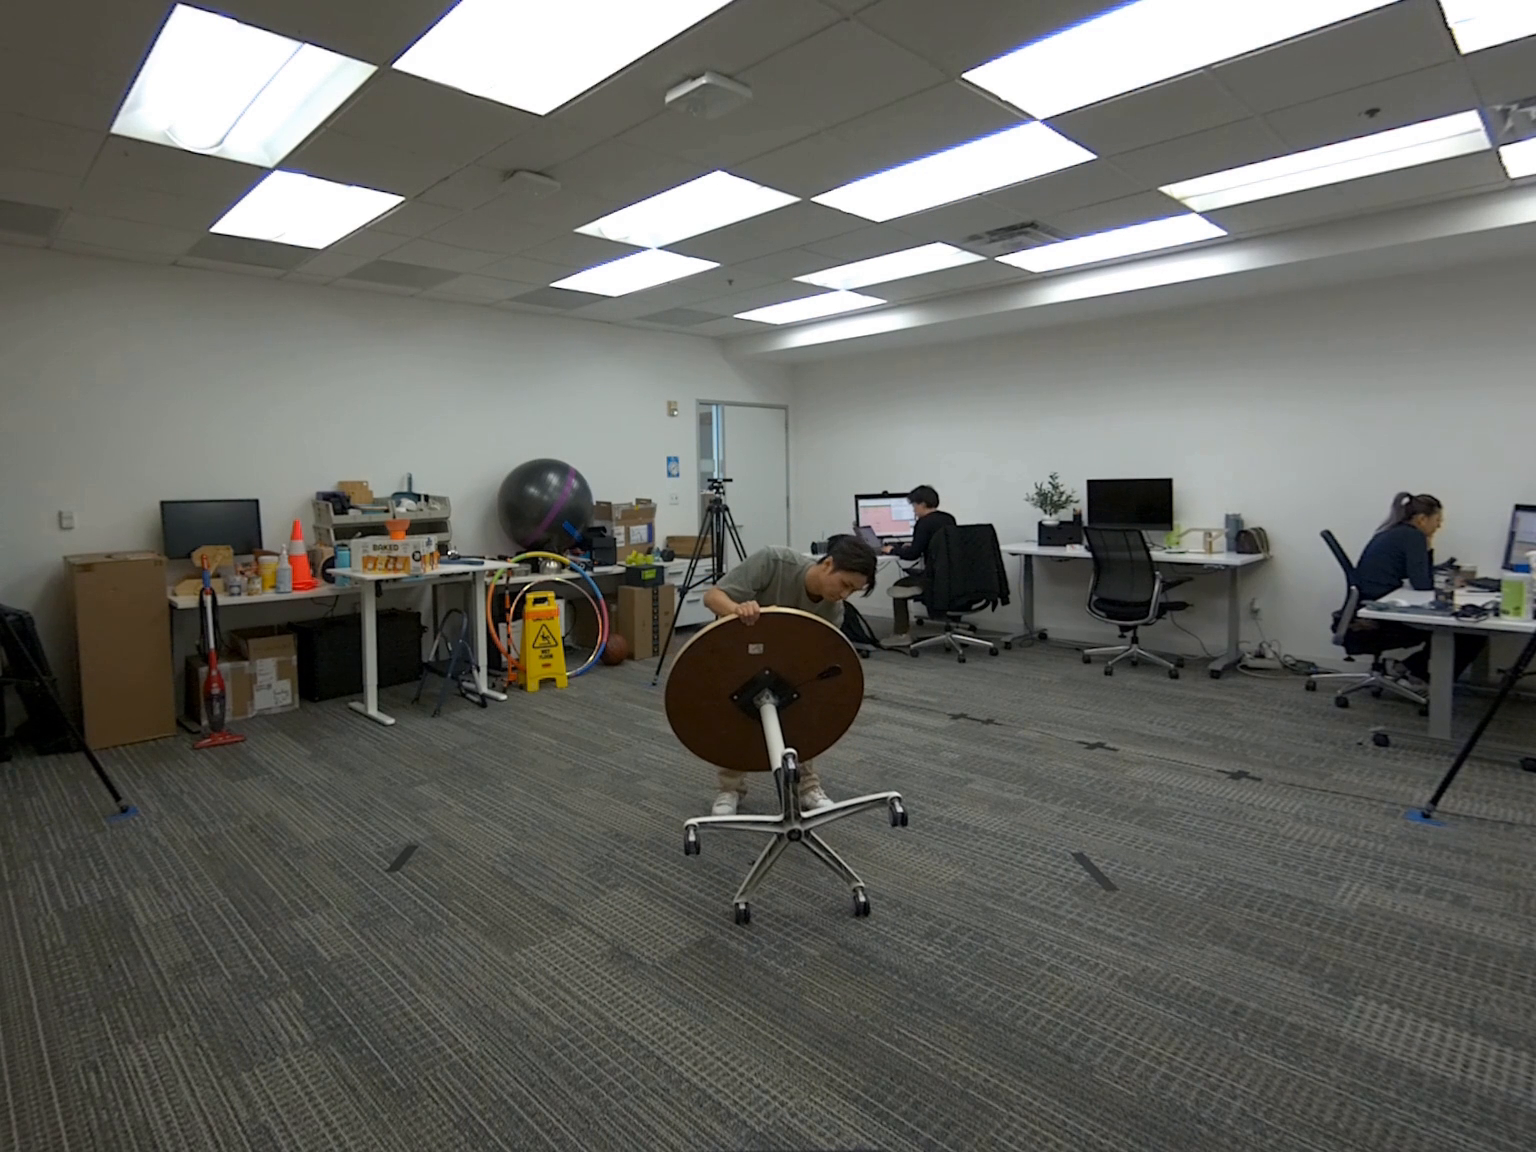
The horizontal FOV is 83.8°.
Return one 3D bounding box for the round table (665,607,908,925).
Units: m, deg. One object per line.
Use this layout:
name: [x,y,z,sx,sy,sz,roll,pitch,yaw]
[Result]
round table: [0.049,0.636,2.912,0.780,0.768,0.809,-2,29,-8]
